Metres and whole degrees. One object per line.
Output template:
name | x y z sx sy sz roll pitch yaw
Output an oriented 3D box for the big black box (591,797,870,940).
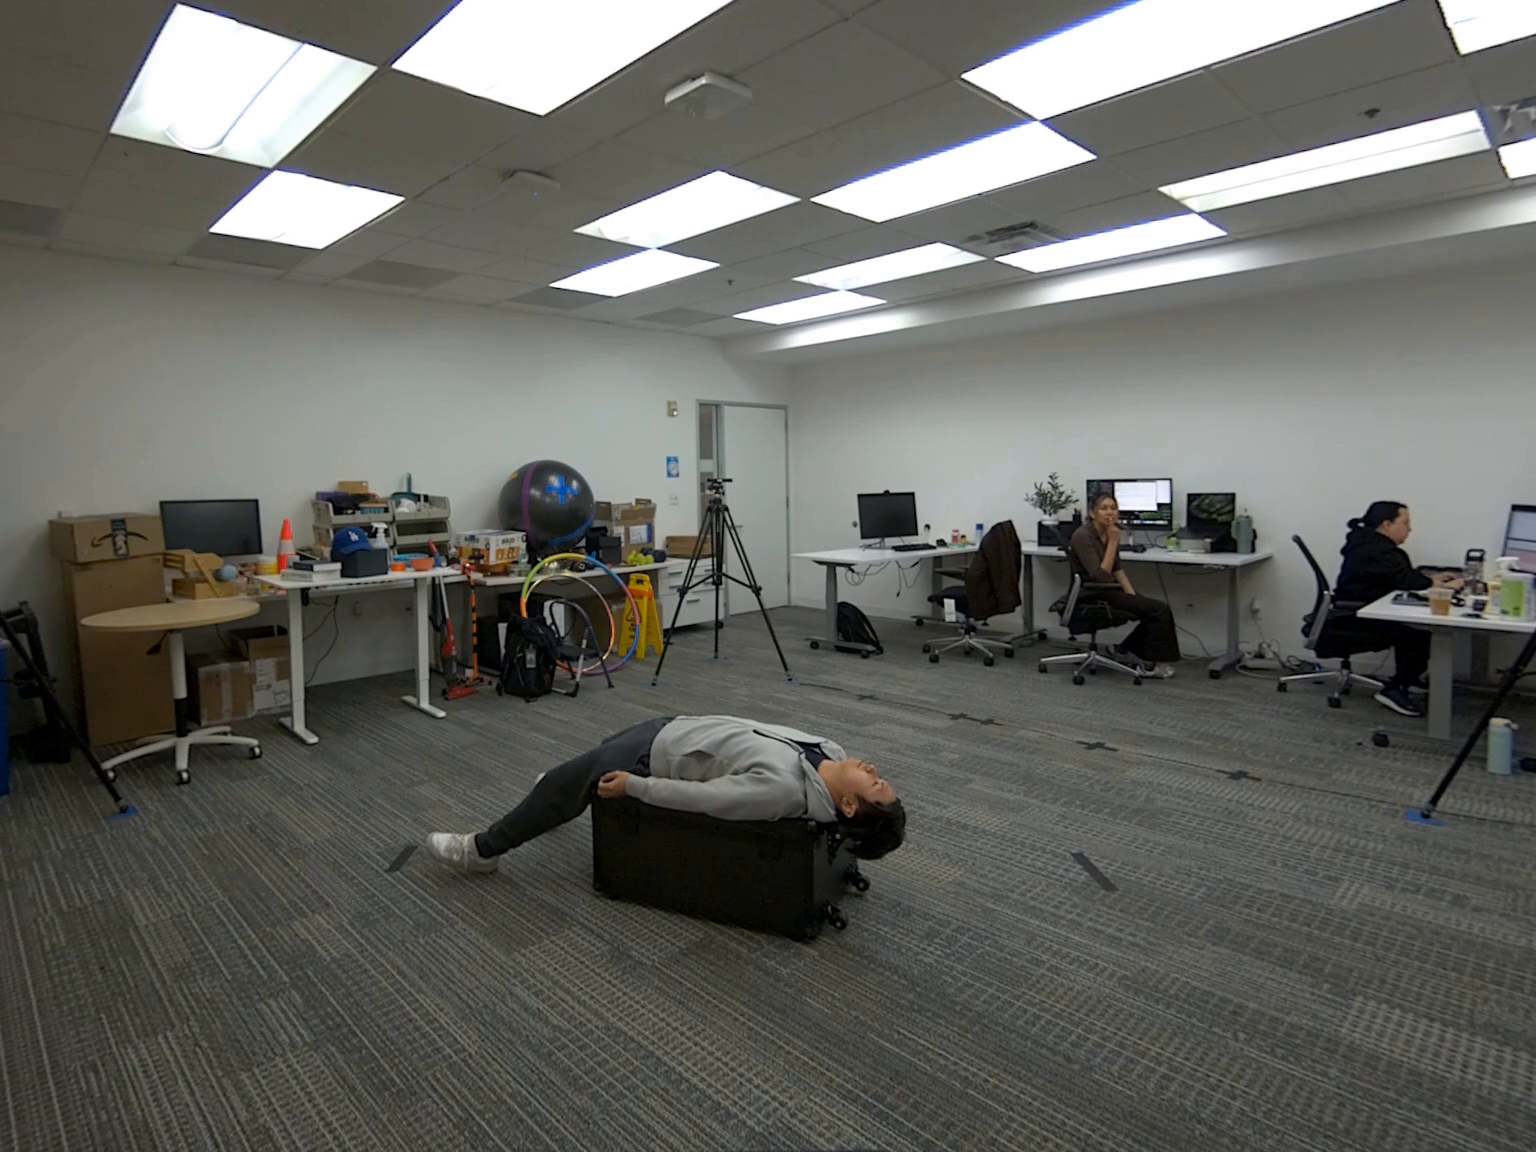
big black box | -0.163 0.884 2.933 0.881 0.394 0.512 3 7 24
